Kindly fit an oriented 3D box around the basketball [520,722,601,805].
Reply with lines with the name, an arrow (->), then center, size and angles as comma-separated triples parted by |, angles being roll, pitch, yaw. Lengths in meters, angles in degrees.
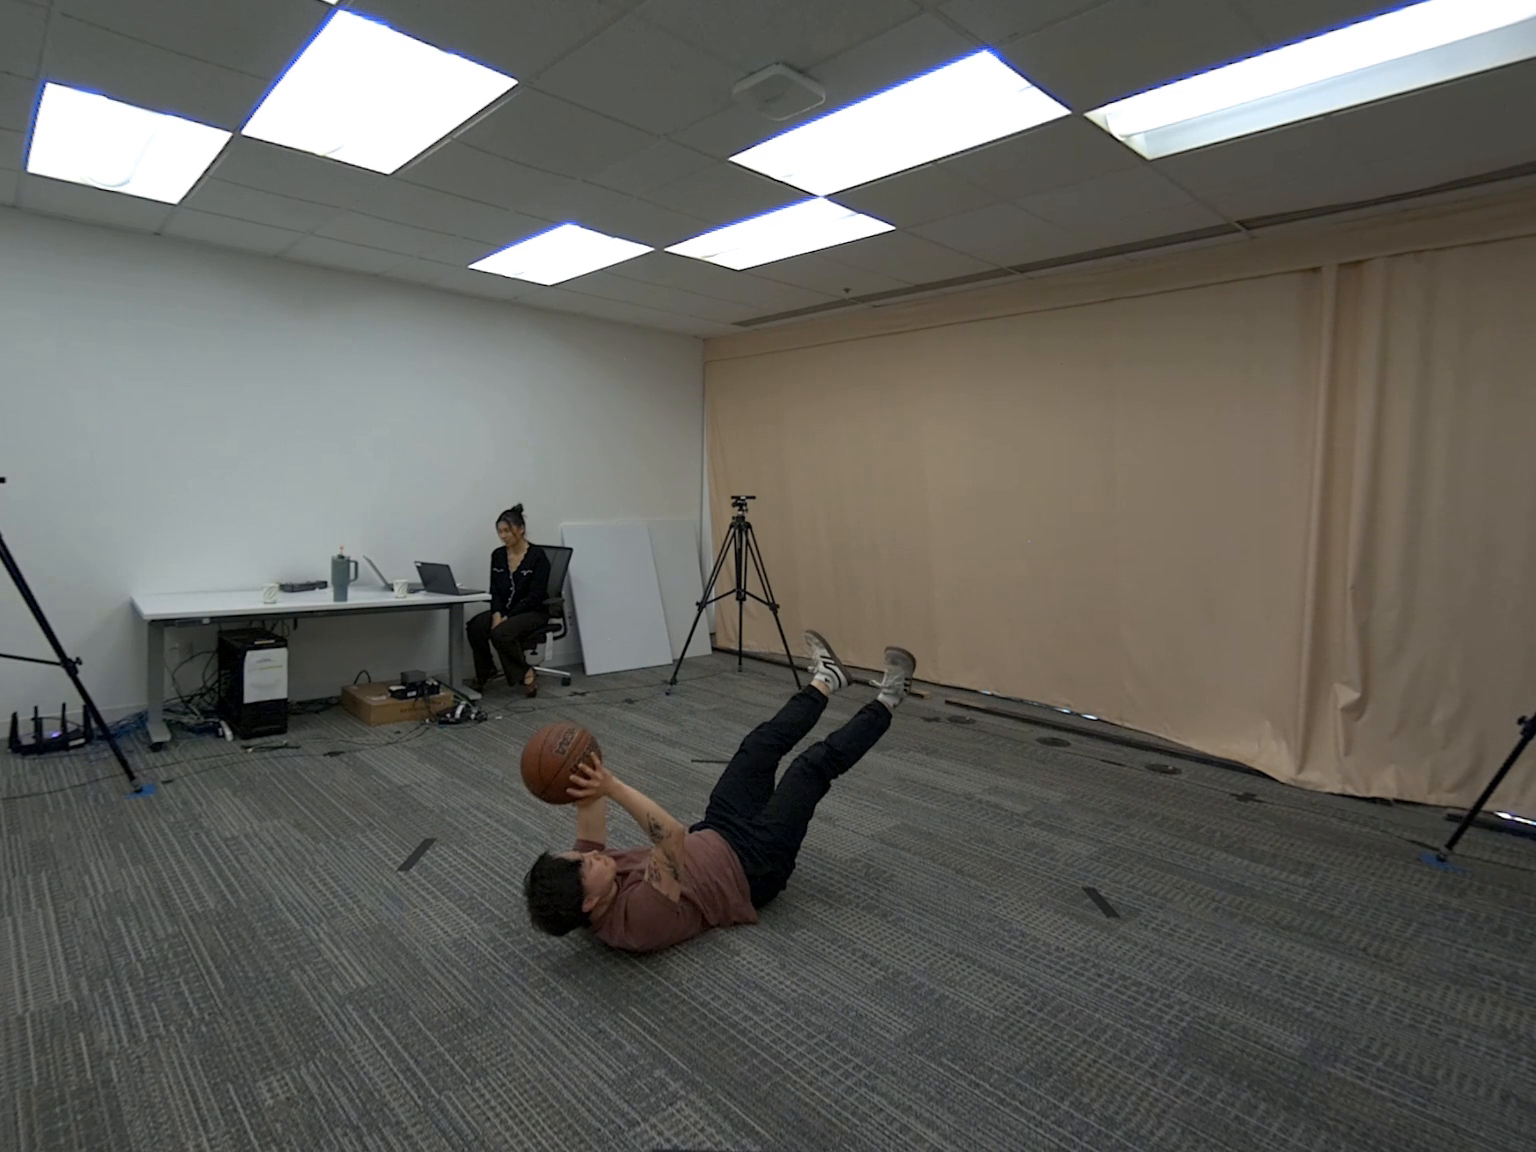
basketball -> -0.611, 0.552, 2.467 | 0.236, 0.235, 0.237 | 2, 4, -2
